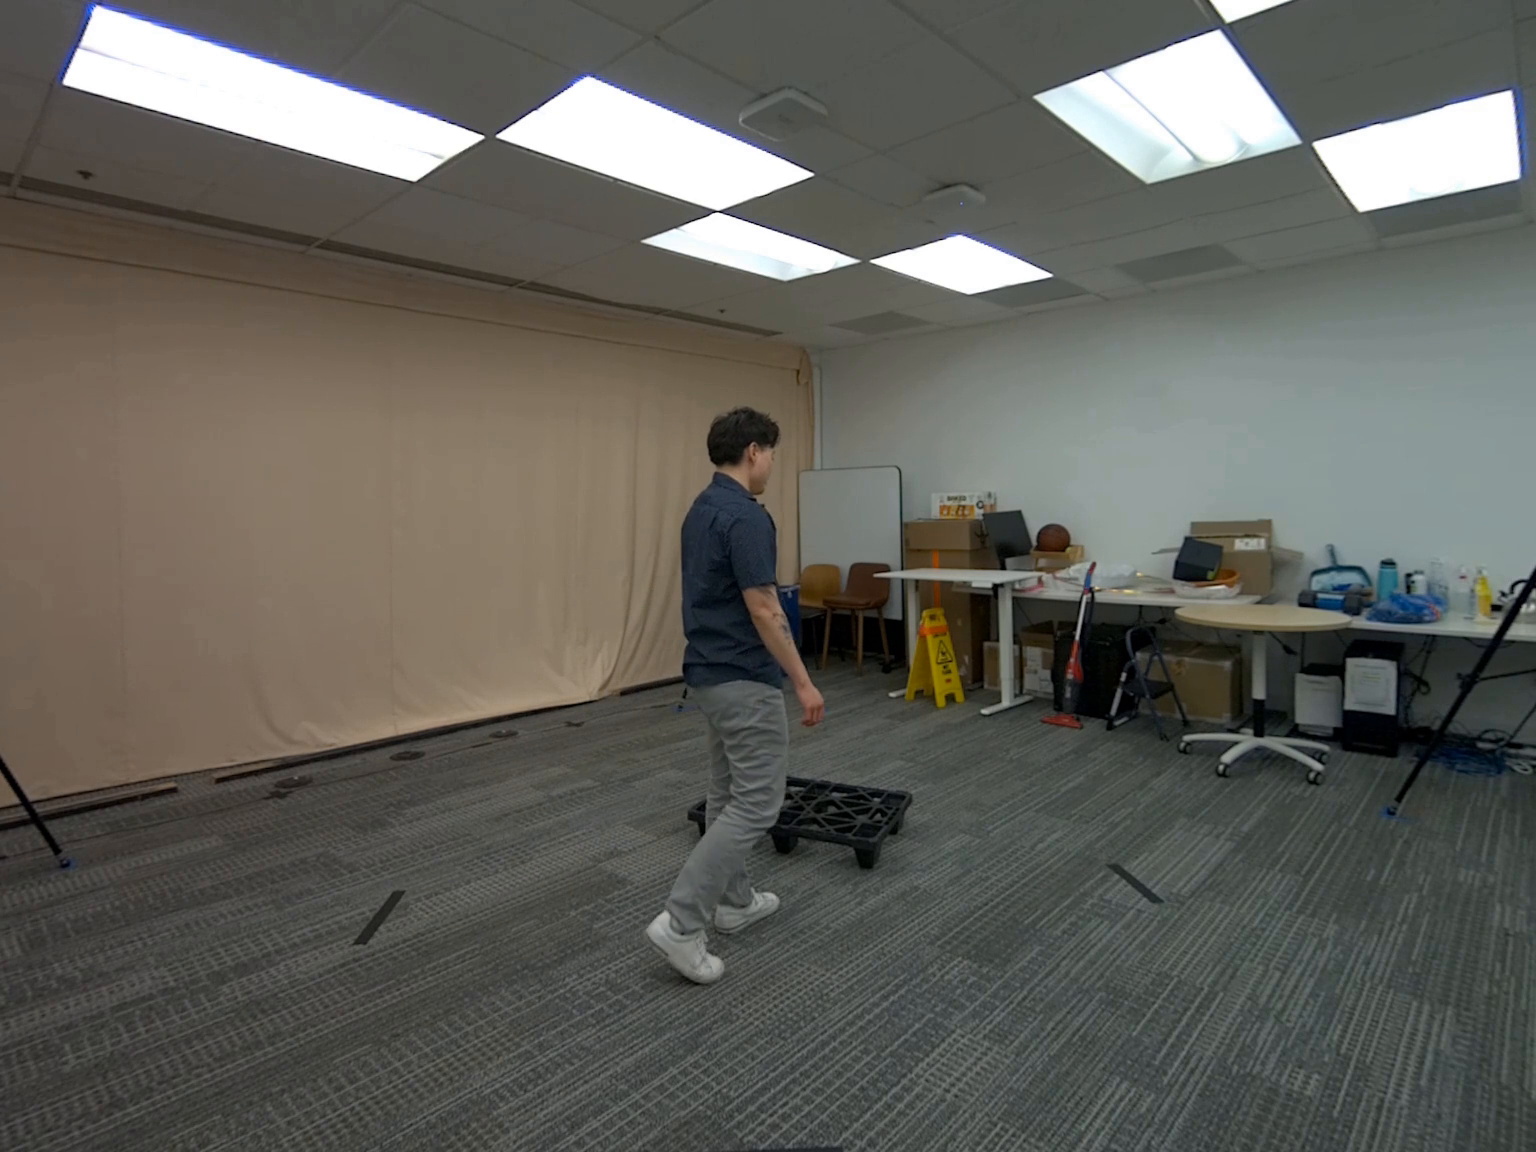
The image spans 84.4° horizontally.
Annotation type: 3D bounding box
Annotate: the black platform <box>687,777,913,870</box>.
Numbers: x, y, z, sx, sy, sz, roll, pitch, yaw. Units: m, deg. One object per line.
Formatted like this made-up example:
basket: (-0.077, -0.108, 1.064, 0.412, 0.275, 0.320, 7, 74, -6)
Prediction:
black platform: (0.151, 1.018, 3.549, 0.826, 0.143, 0.591, 1, 5, 25)
